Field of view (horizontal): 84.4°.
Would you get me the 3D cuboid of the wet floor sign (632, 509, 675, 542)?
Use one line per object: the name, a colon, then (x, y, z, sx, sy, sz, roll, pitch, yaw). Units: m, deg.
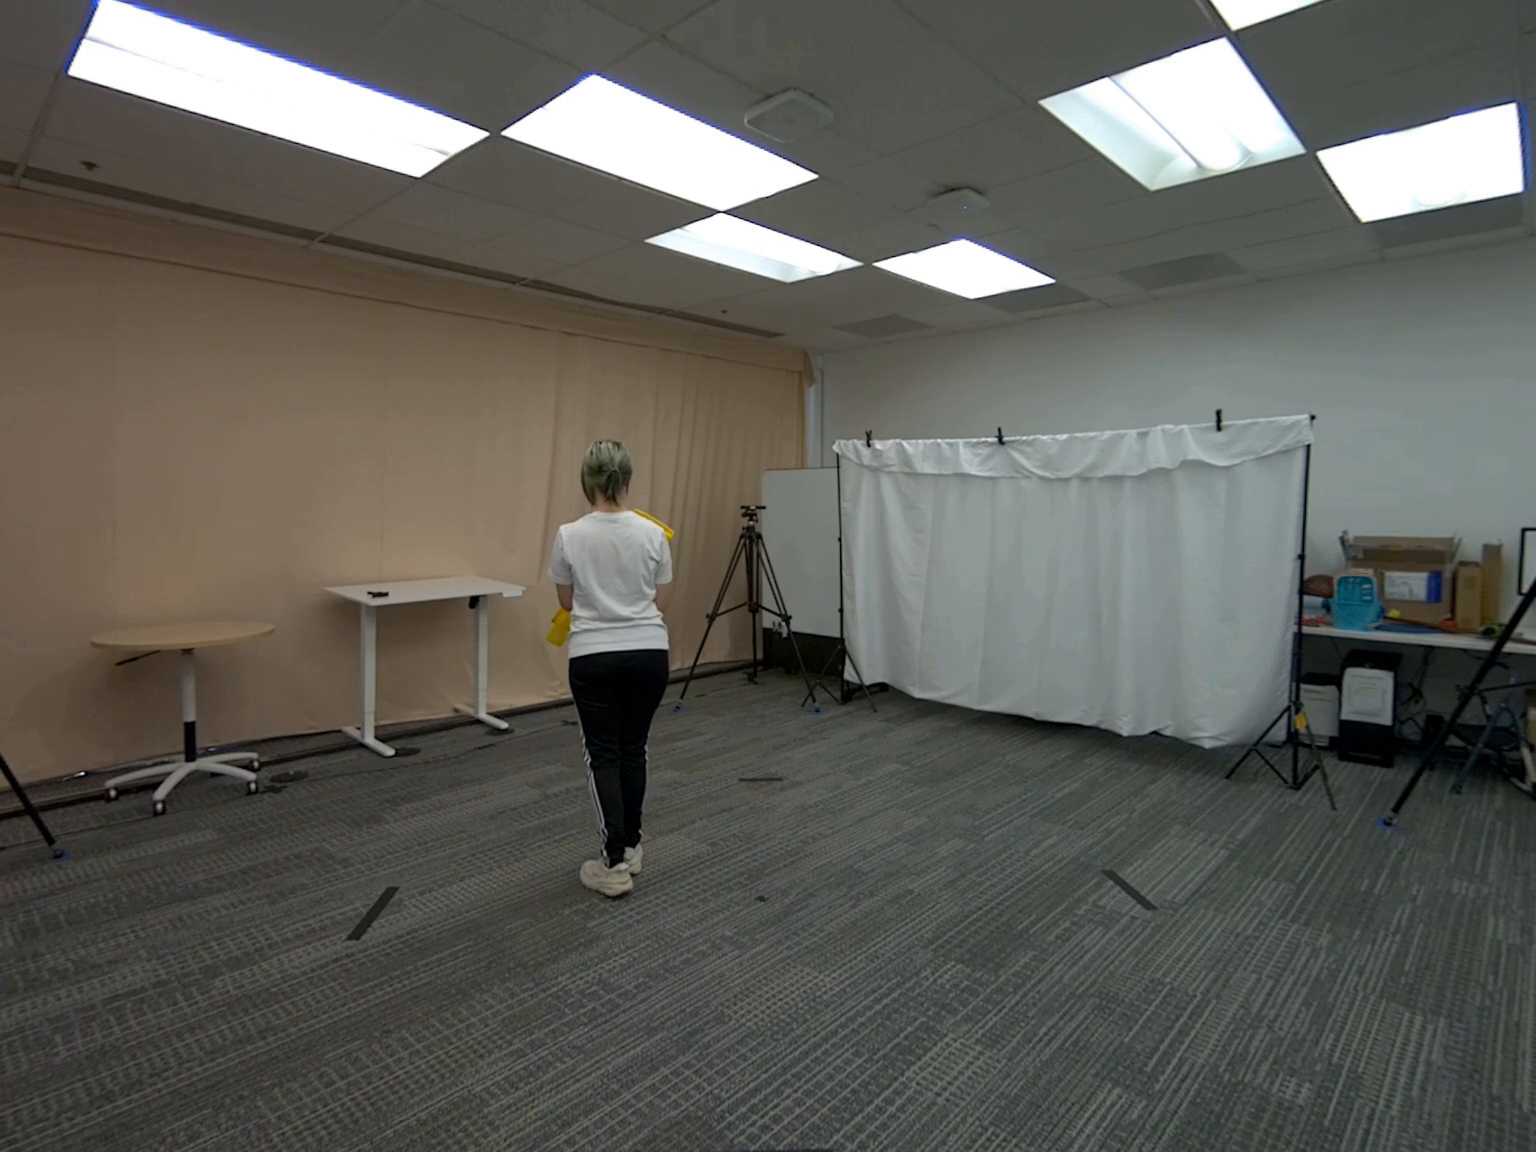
wet floor sign: (-0.650, 0.032, 3.571, 0.278, 0.646, 0.294, 31, 10, -12)
